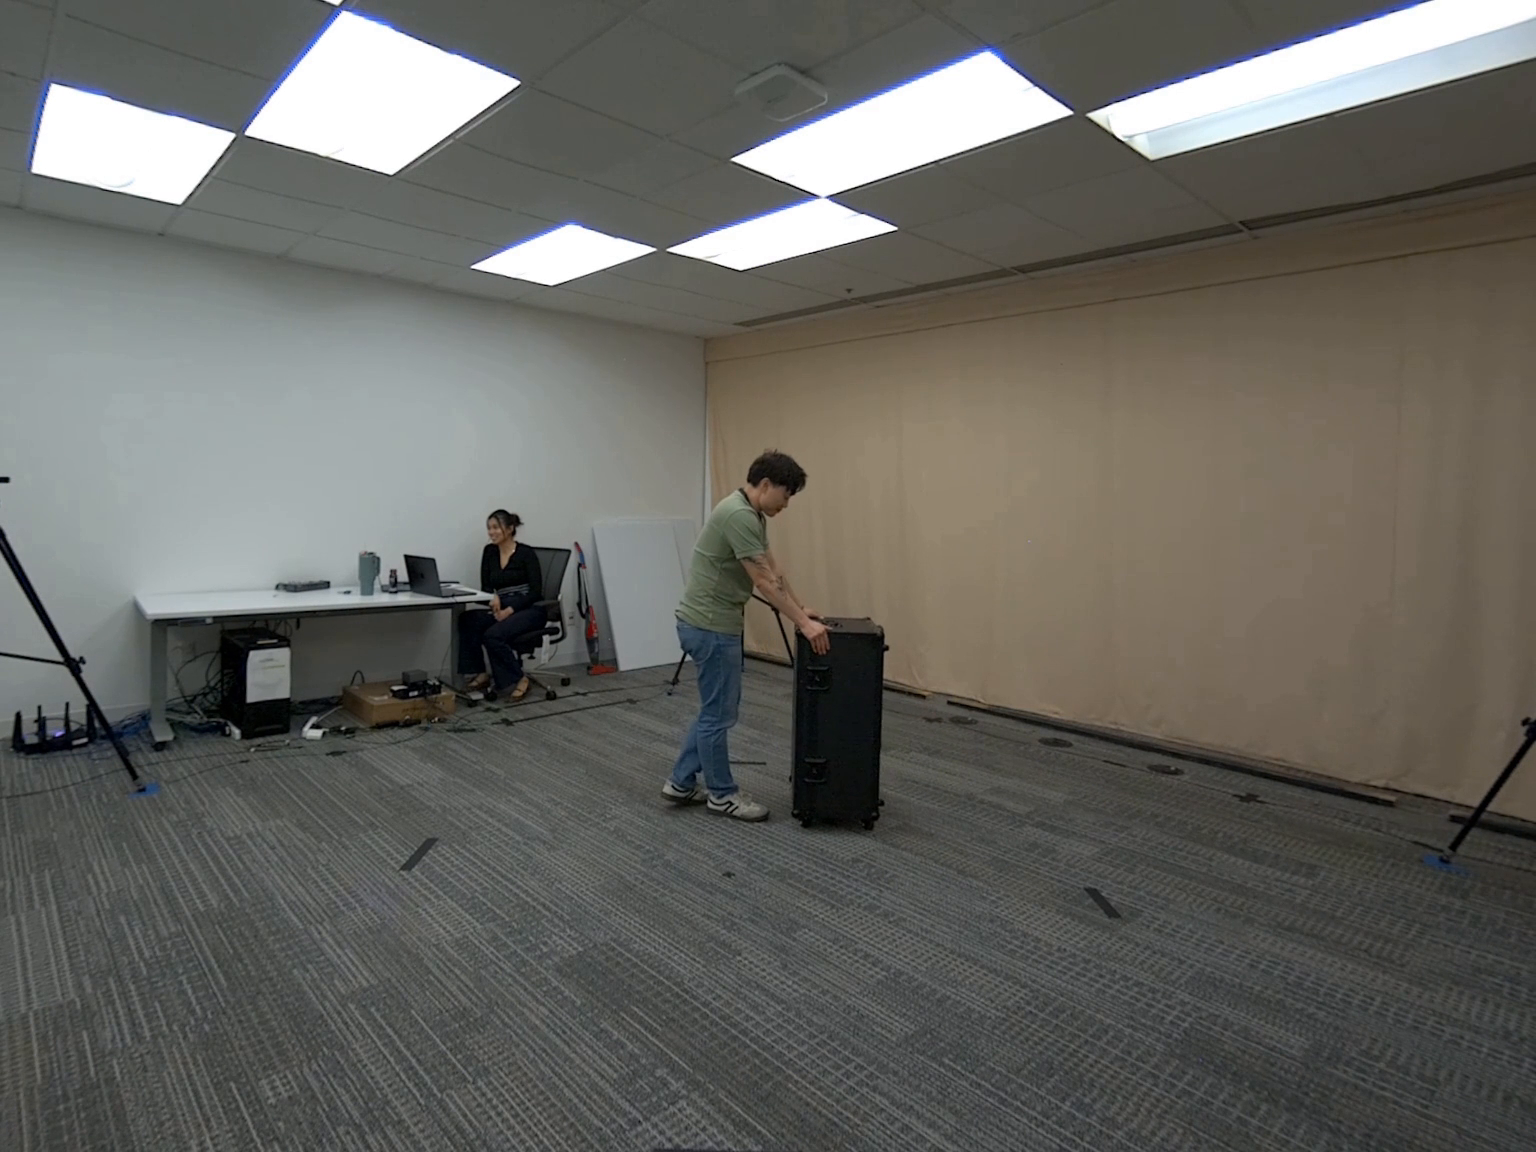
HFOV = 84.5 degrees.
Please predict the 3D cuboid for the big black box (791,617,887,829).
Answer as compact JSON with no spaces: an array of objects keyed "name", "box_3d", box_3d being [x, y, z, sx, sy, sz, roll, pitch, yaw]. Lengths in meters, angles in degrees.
[{"name":"big black box","box_3d":[0.297,0.634,3.721,0.397,0.860,0.521,2,3,2]}]
